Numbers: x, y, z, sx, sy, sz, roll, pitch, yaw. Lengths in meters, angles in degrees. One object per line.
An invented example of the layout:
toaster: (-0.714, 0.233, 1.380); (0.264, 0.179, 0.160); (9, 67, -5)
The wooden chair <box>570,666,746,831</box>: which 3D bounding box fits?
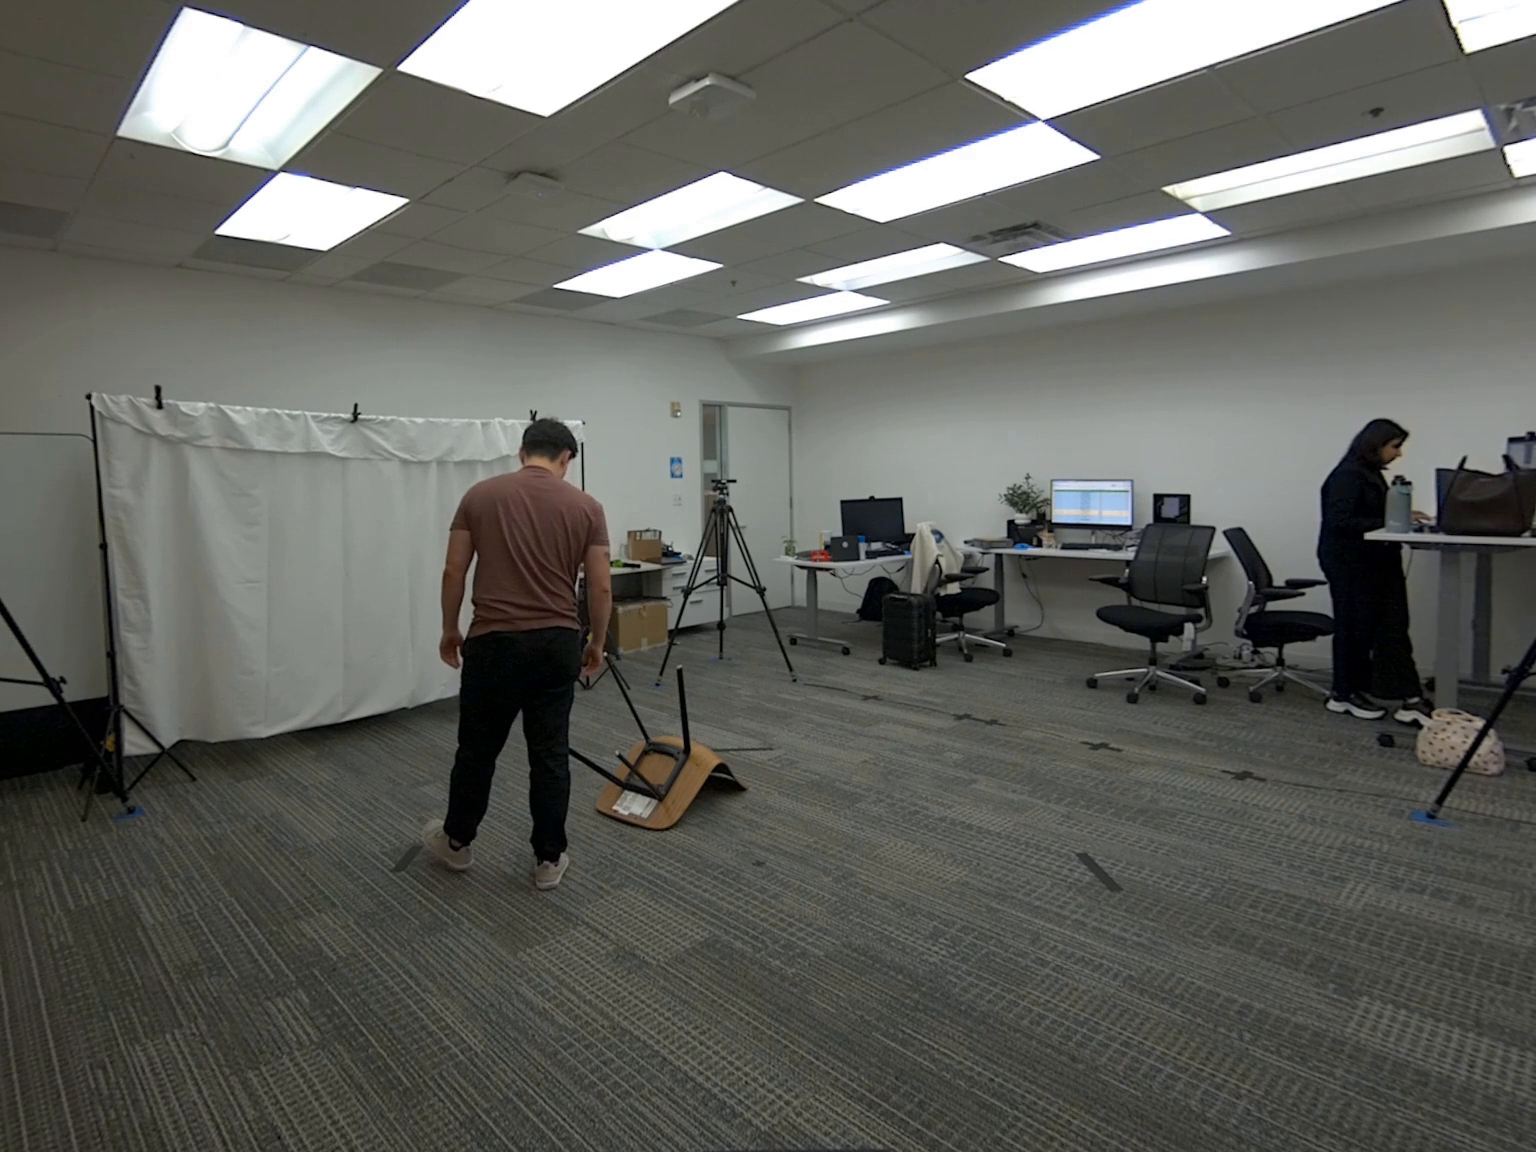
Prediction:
wooden chair: (-0.485, 0.824, 3.650); (0.492, 0.847, 0.526); (2, 45, 37)
